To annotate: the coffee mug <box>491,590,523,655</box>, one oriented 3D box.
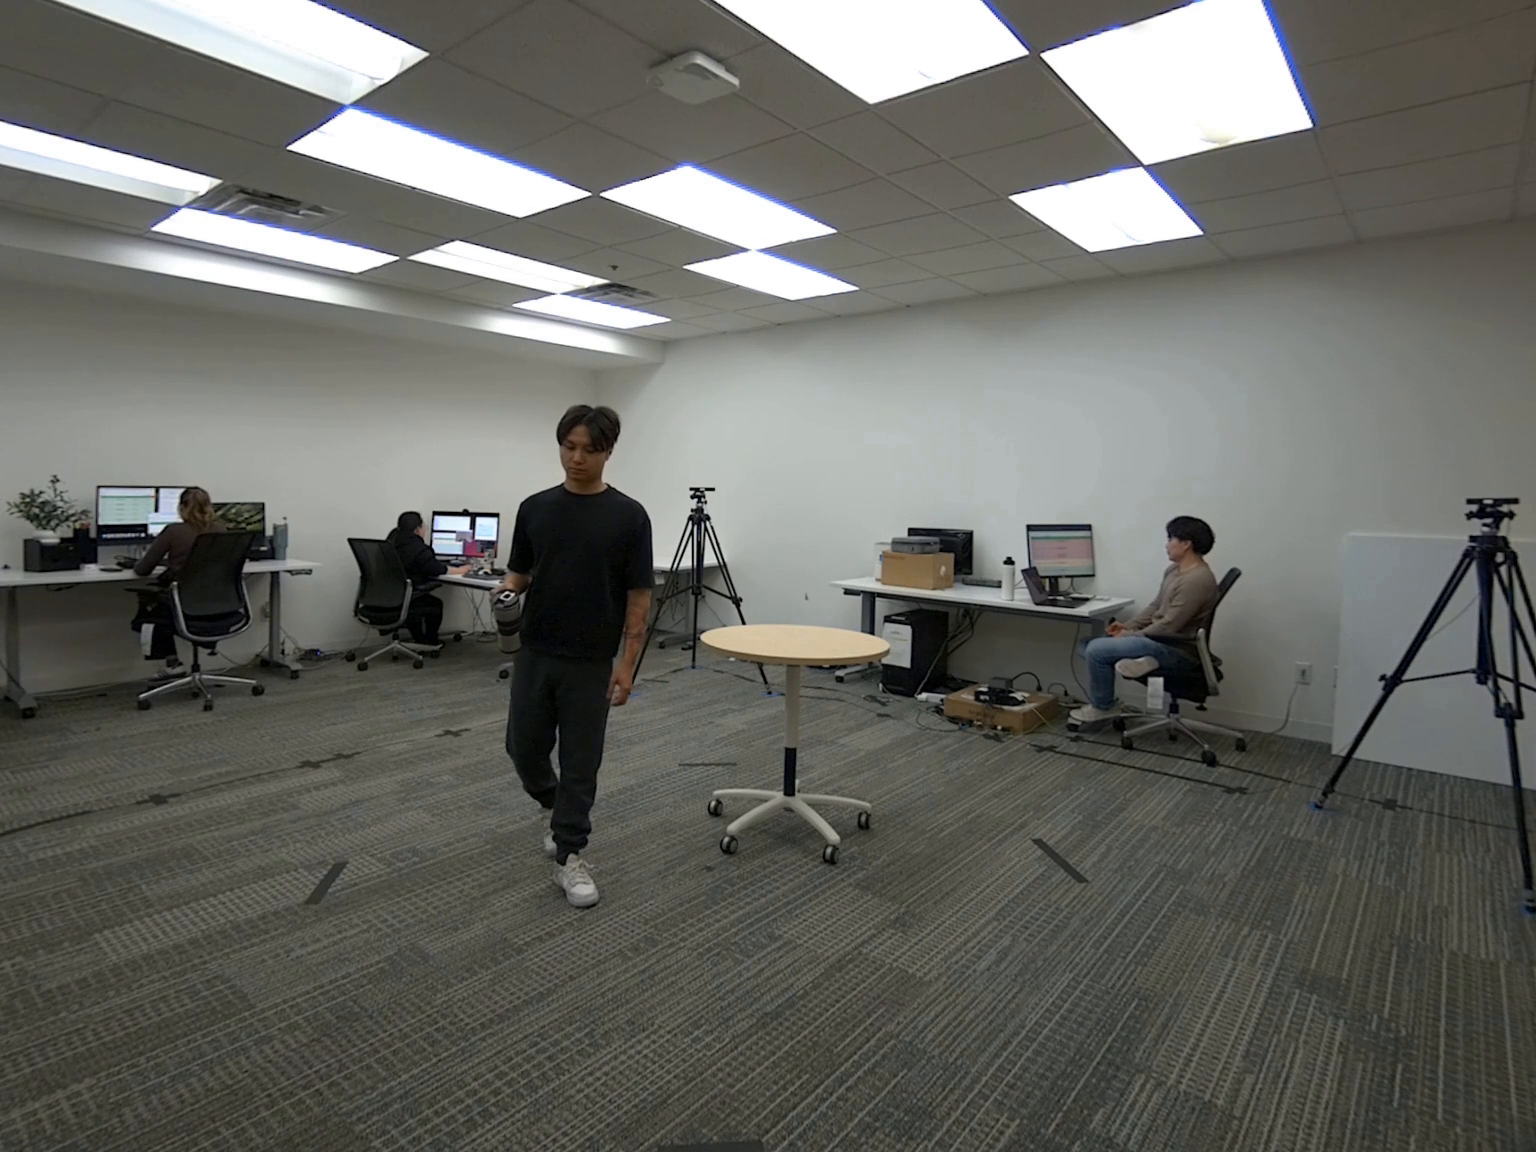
[{"bbox_3d":[-0.849,0.147,2.758,0.091,0.198,0.121,14,34,27],"label":"coffee mug"}]
